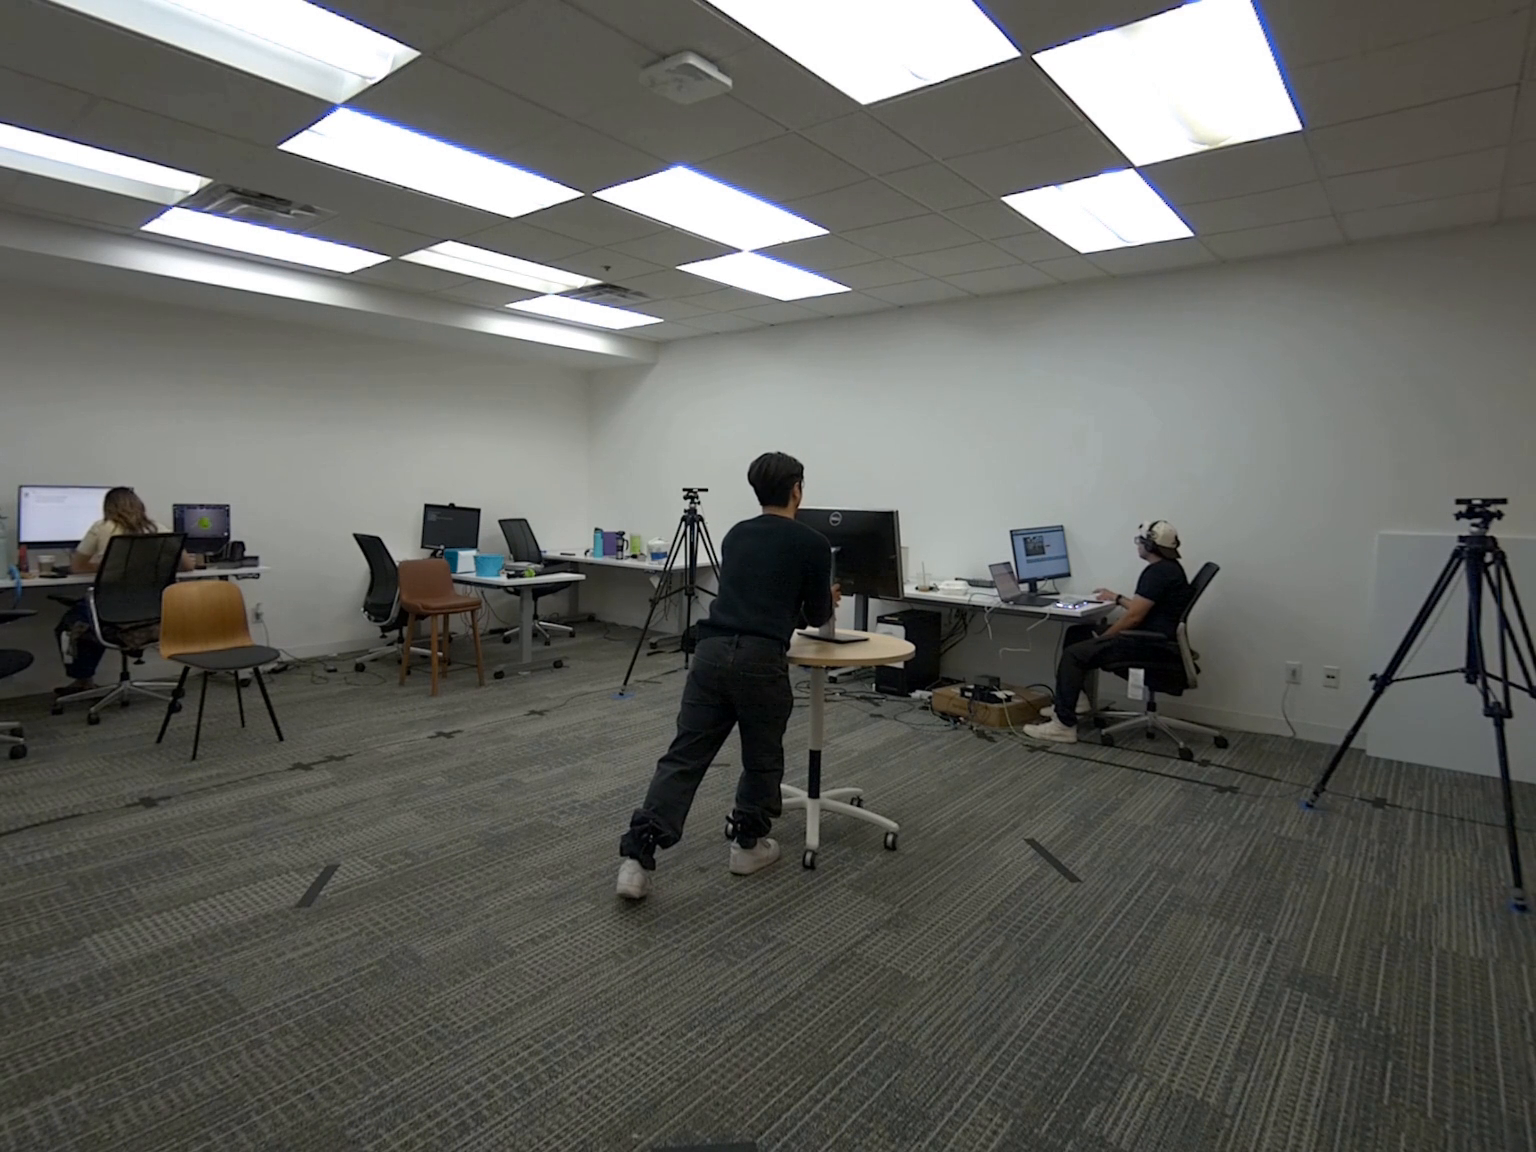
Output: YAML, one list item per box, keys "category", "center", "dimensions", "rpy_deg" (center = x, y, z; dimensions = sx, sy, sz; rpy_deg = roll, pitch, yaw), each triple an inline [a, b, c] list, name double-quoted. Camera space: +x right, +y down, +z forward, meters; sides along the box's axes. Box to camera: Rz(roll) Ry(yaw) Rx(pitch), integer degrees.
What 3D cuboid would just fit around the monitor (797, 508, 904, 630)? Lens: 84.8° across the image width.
- category: "monitor"
  center: [0.280, -0.019, 3.544]
  dimensions: [0.547, 0.518, 0.168]
  rpy_deg: [2, -5, 41]
